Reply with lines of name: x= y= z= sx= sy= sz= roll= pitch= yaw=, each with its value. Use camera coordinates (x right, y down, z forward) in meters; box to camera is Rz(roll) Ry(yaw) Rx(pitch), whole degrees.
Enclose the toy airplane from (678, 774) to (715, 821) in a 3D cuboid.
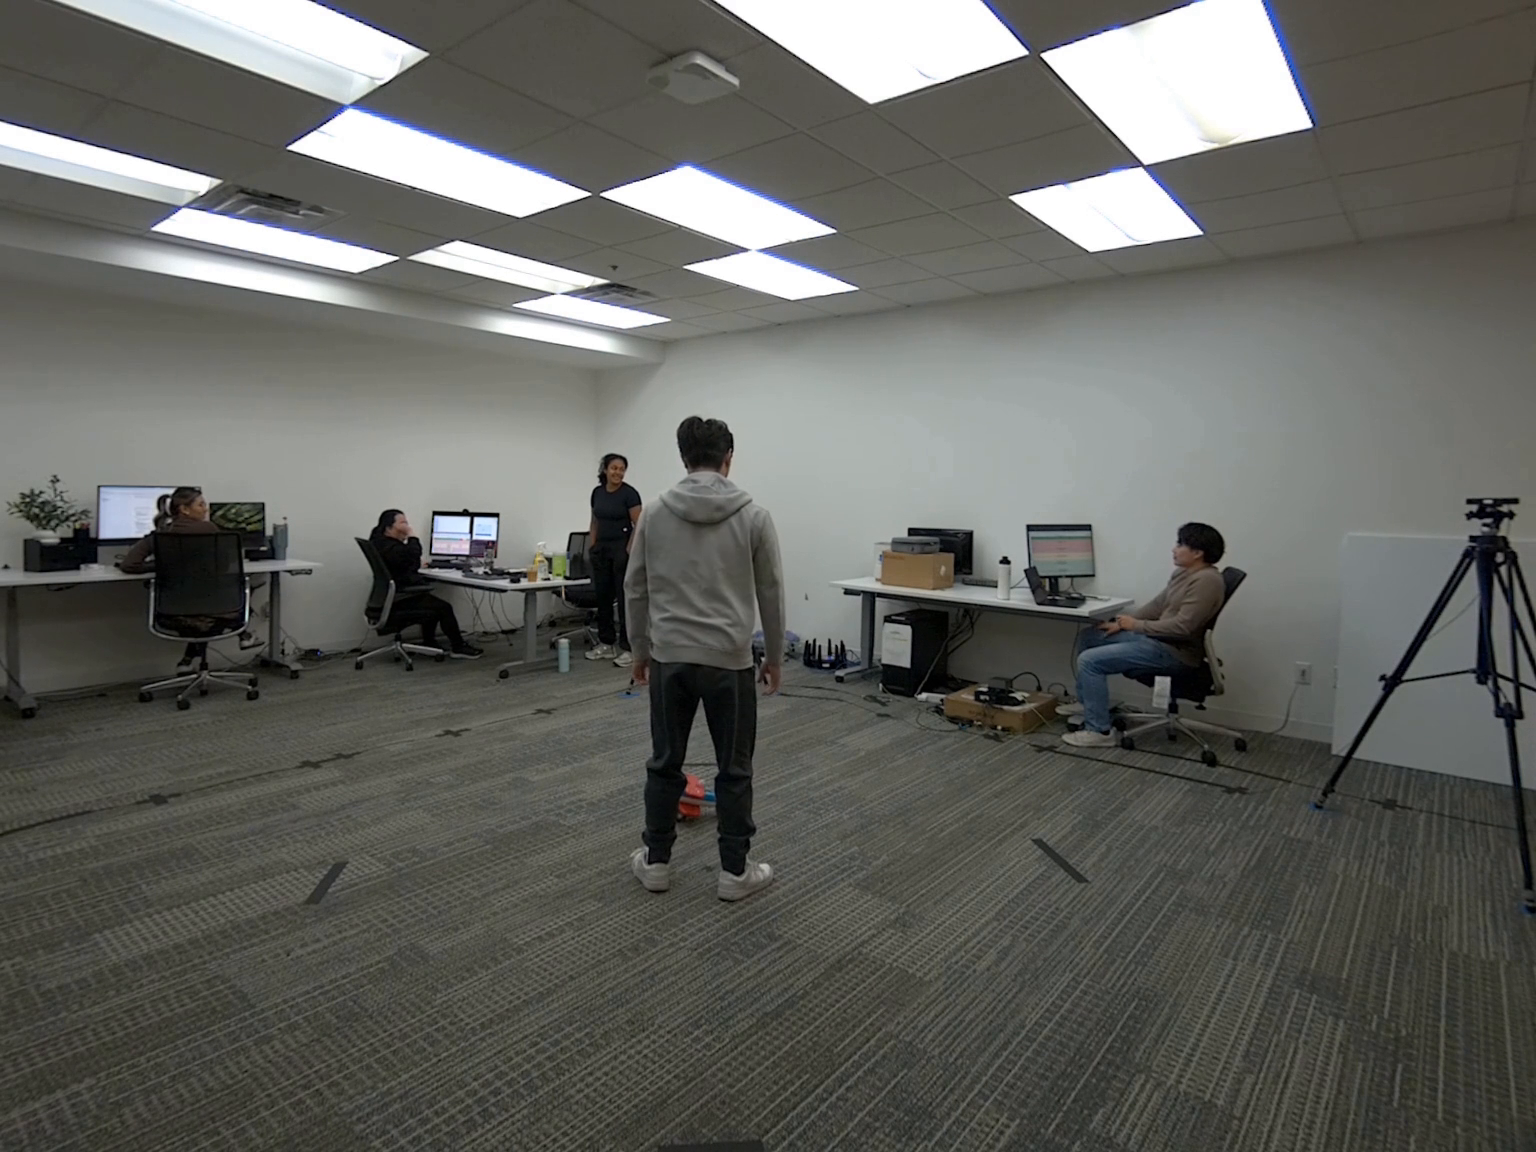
toy airplane: x=-0.312 y=0.948 z=3.624 sx=0.252 sy=0.156 sz=0.259 roll=-2 pitch=5 yaw=-35
